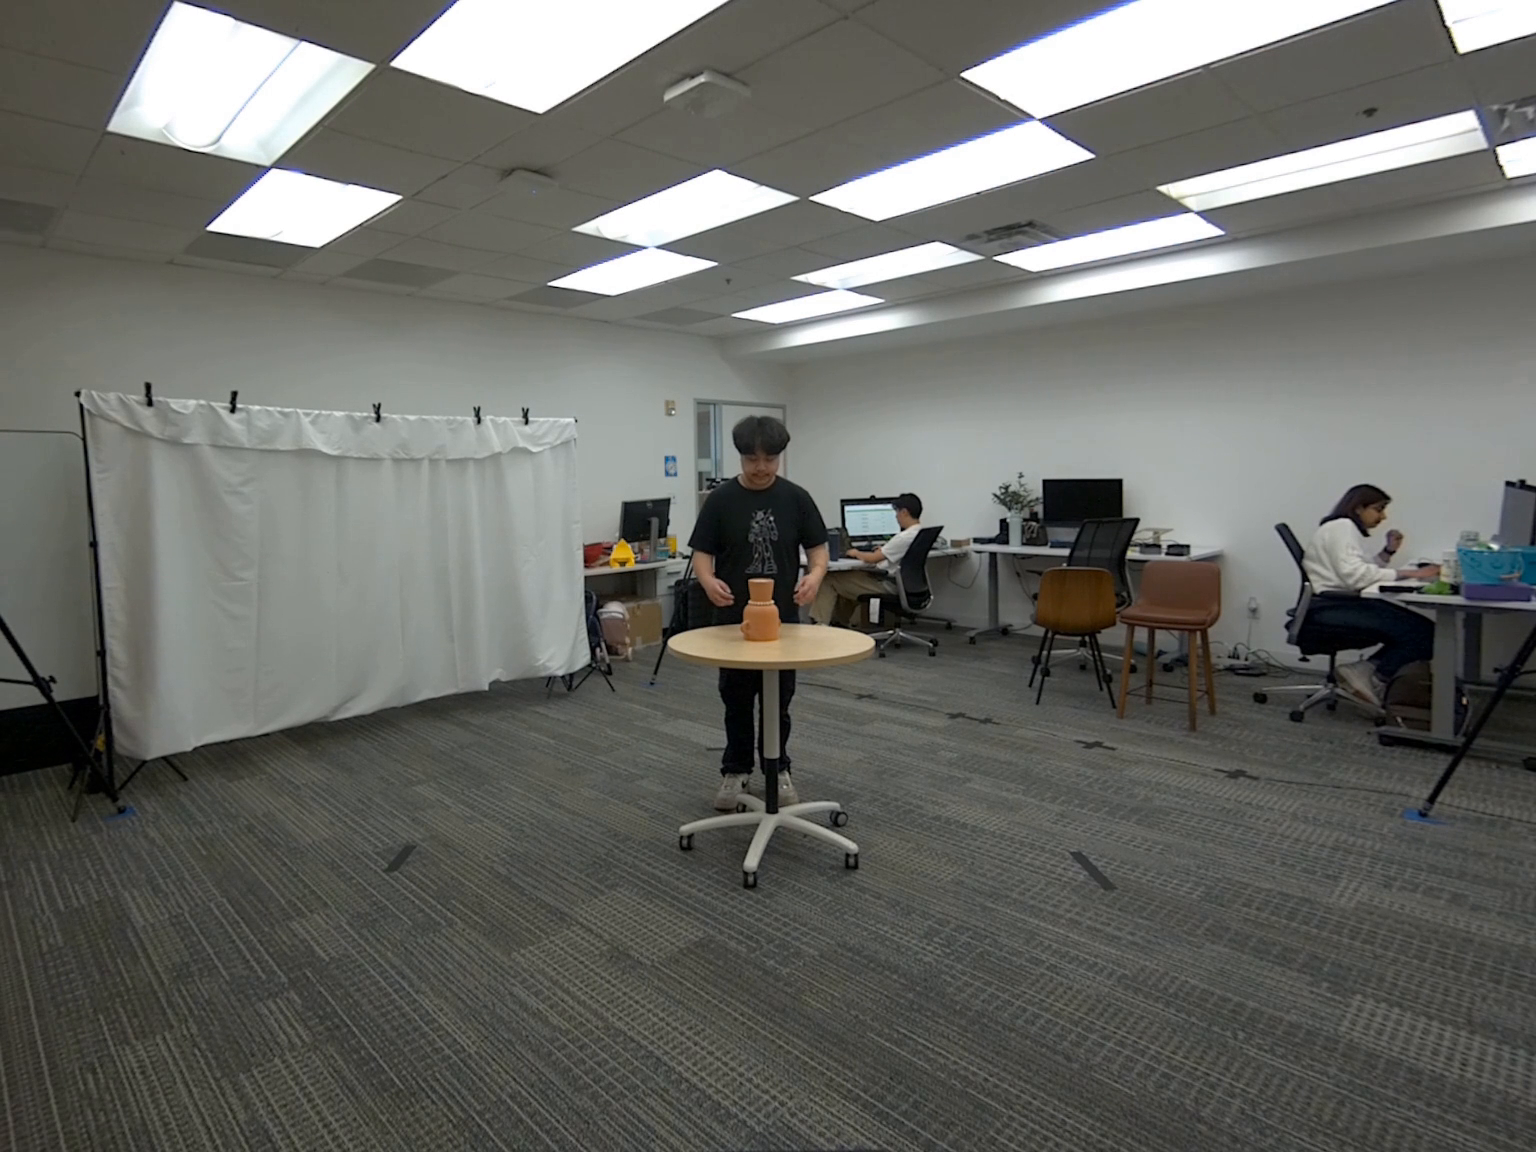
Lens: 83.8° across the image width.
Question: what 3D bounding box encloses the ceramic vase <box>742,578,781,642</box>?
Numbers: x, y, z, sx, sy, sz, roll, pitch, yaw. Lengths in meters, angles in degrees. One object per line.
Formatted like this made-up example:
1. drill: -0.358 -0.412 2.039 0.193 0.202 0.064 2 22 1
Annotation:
1. ceramic vase: -0.031 0.127 3.218 0.136 0.219 0.158 0 5 8
